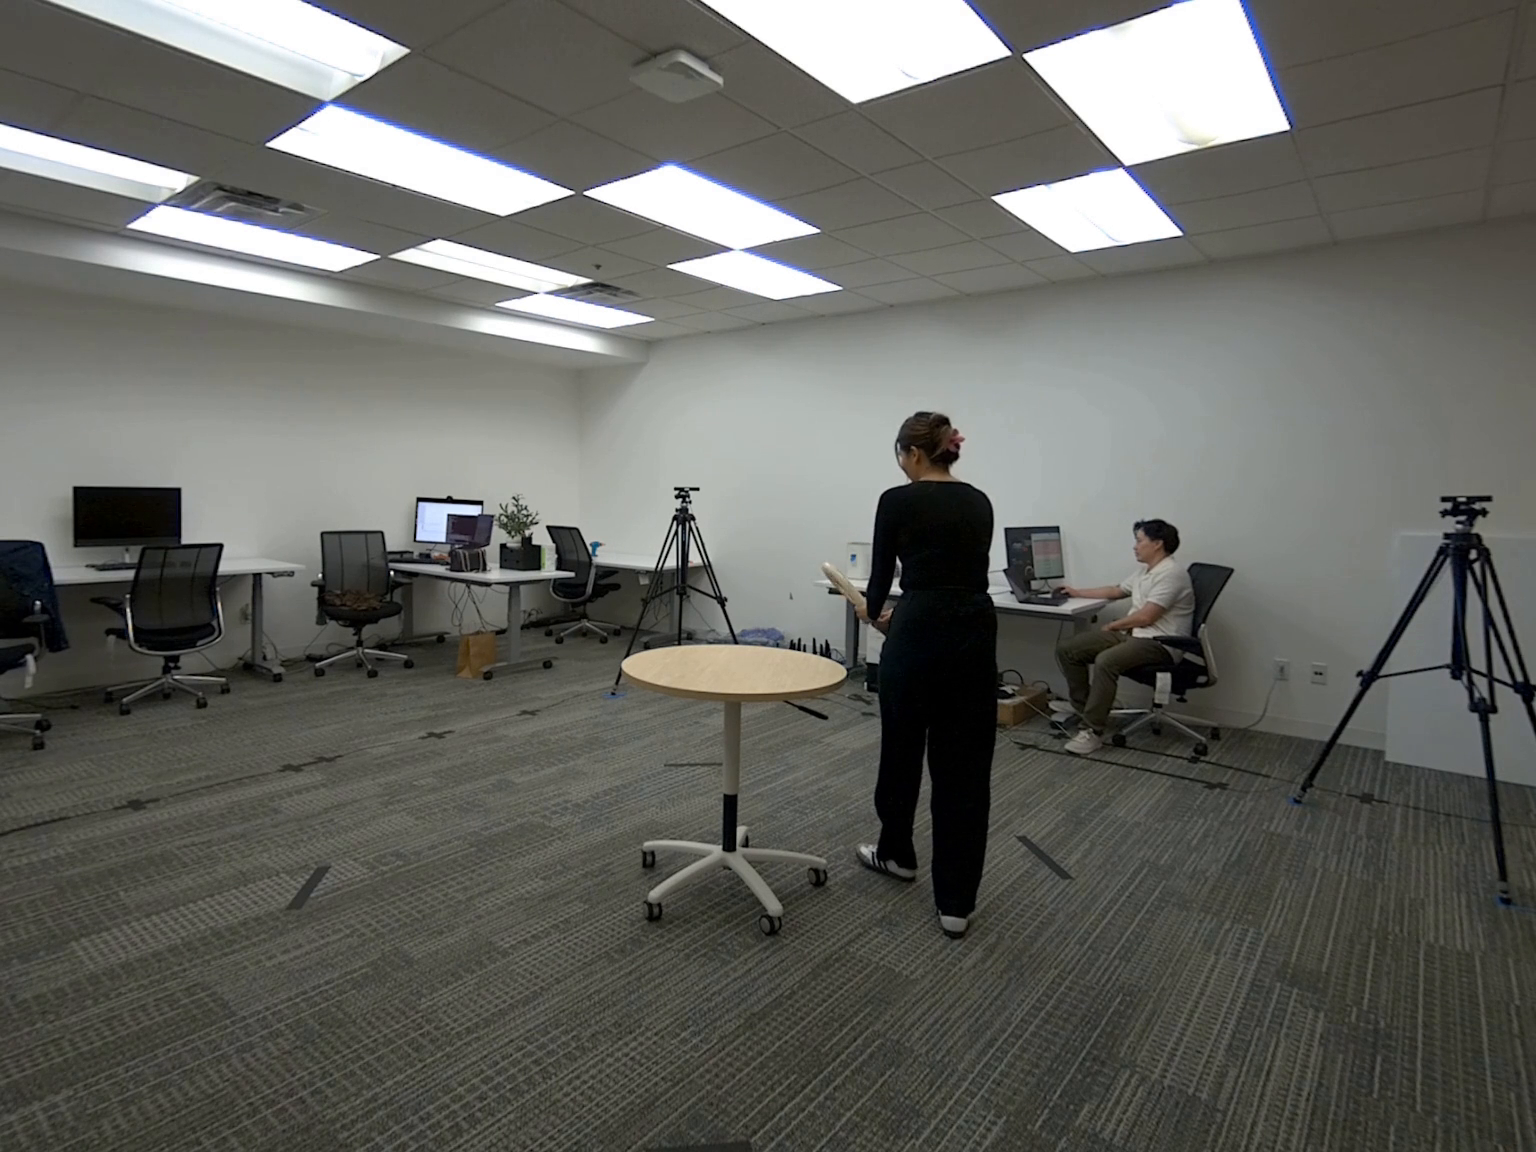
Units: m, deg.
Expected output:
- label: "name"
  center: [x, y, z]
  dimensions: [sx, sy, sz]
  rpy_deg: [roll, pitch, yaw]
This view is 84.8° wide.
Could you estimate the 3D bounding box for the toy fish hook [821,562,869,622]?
- label: "toy fish hook"
  center: [0.377, 0.143, 3.318]
  dimensions: [0.048, 0.518, 0.220]
  rpy_deg: [-41, -15, 0]
